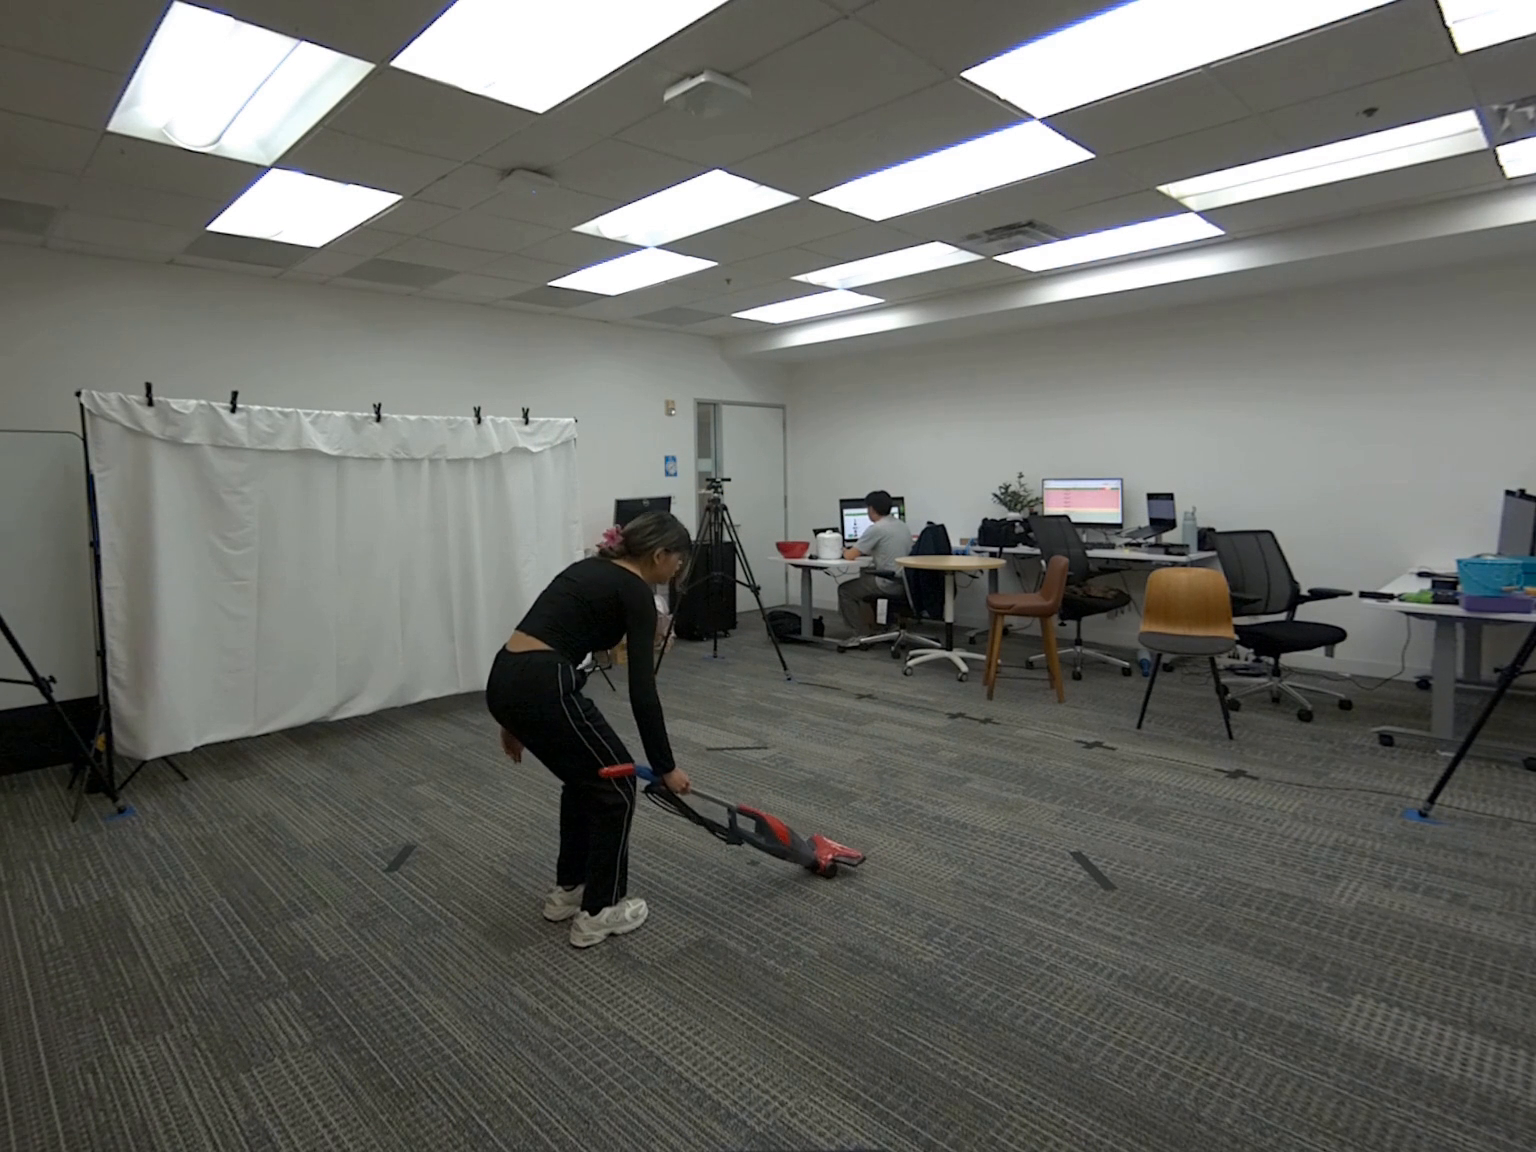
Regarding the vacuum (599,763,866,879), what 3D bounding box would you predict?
[{"bbox_3d":[-0.115,0.792,2.768,1.012,0.145,0.260,31,-17,-35],"label":"vacuum"}]
